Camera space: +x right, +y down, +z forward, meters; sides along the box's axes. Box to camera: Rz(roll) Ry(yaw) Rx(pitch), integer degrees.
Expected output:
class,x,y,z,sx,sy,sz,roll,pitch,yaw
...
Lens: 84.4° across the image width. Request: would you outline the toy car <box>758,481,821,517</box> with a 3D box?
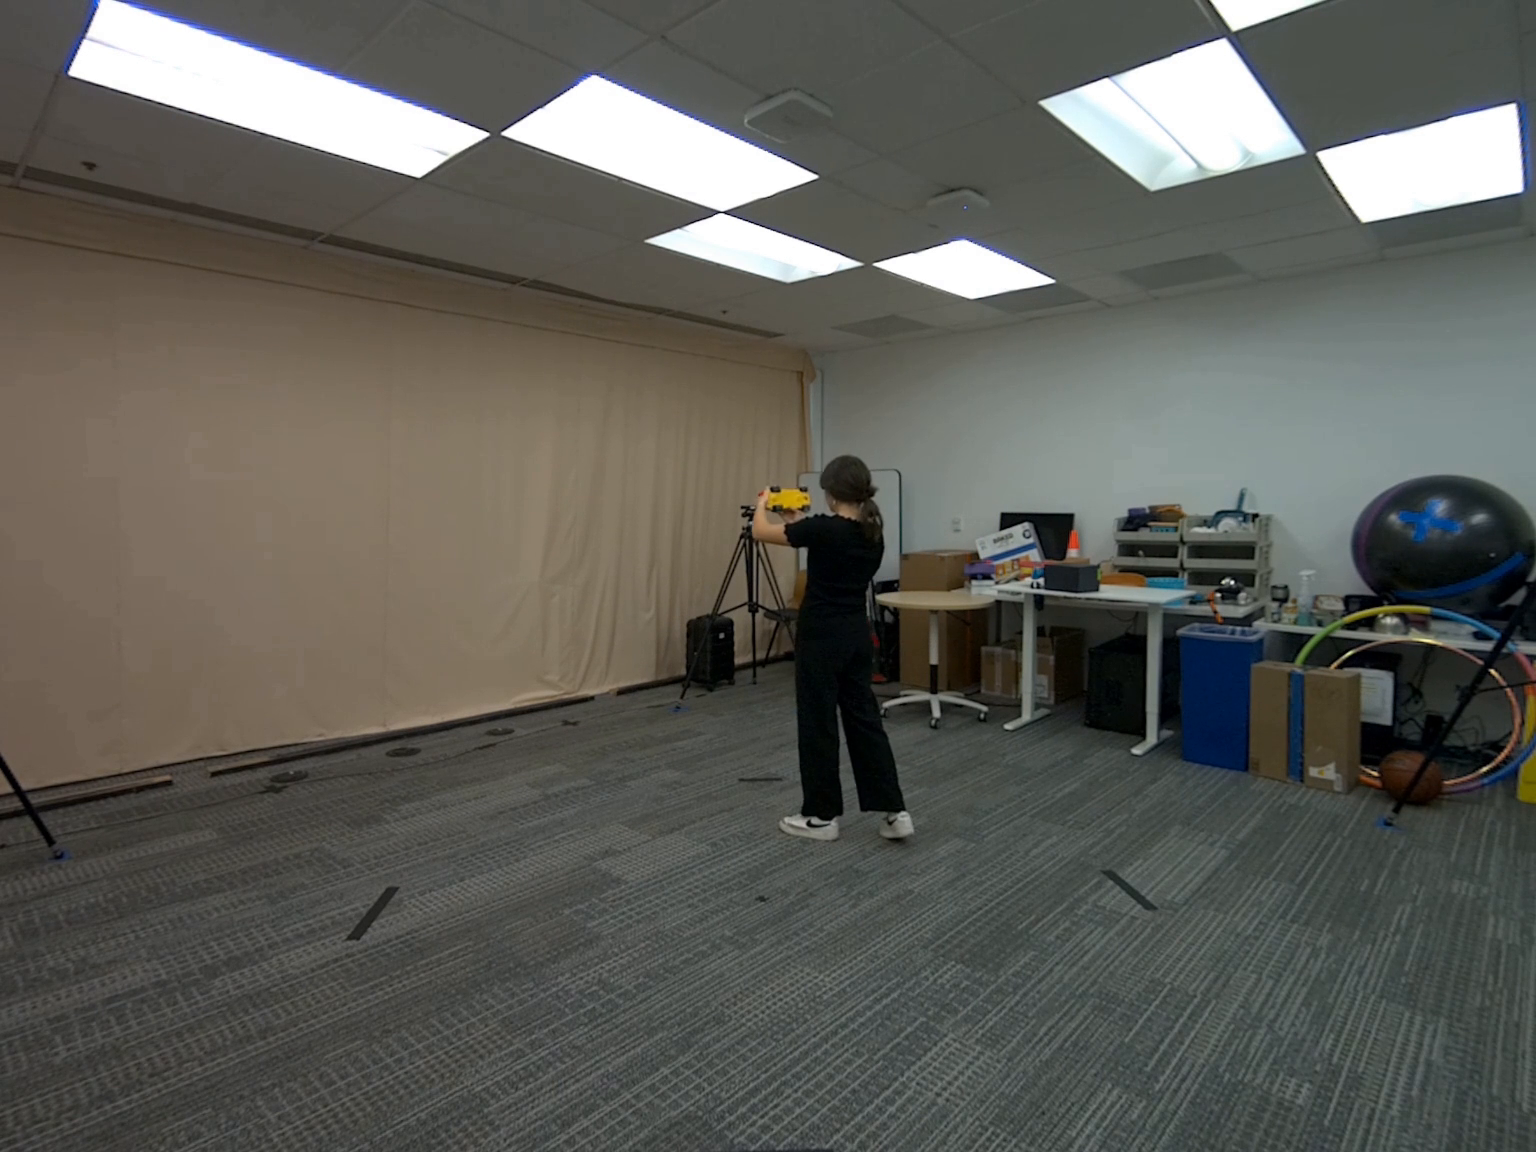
class,x,y,z,sx,sy,sz,roll,pitch,yaw
toy car,0.094,-0.350,3.858,0.251,0.131,0.083,-5,-9,-12
